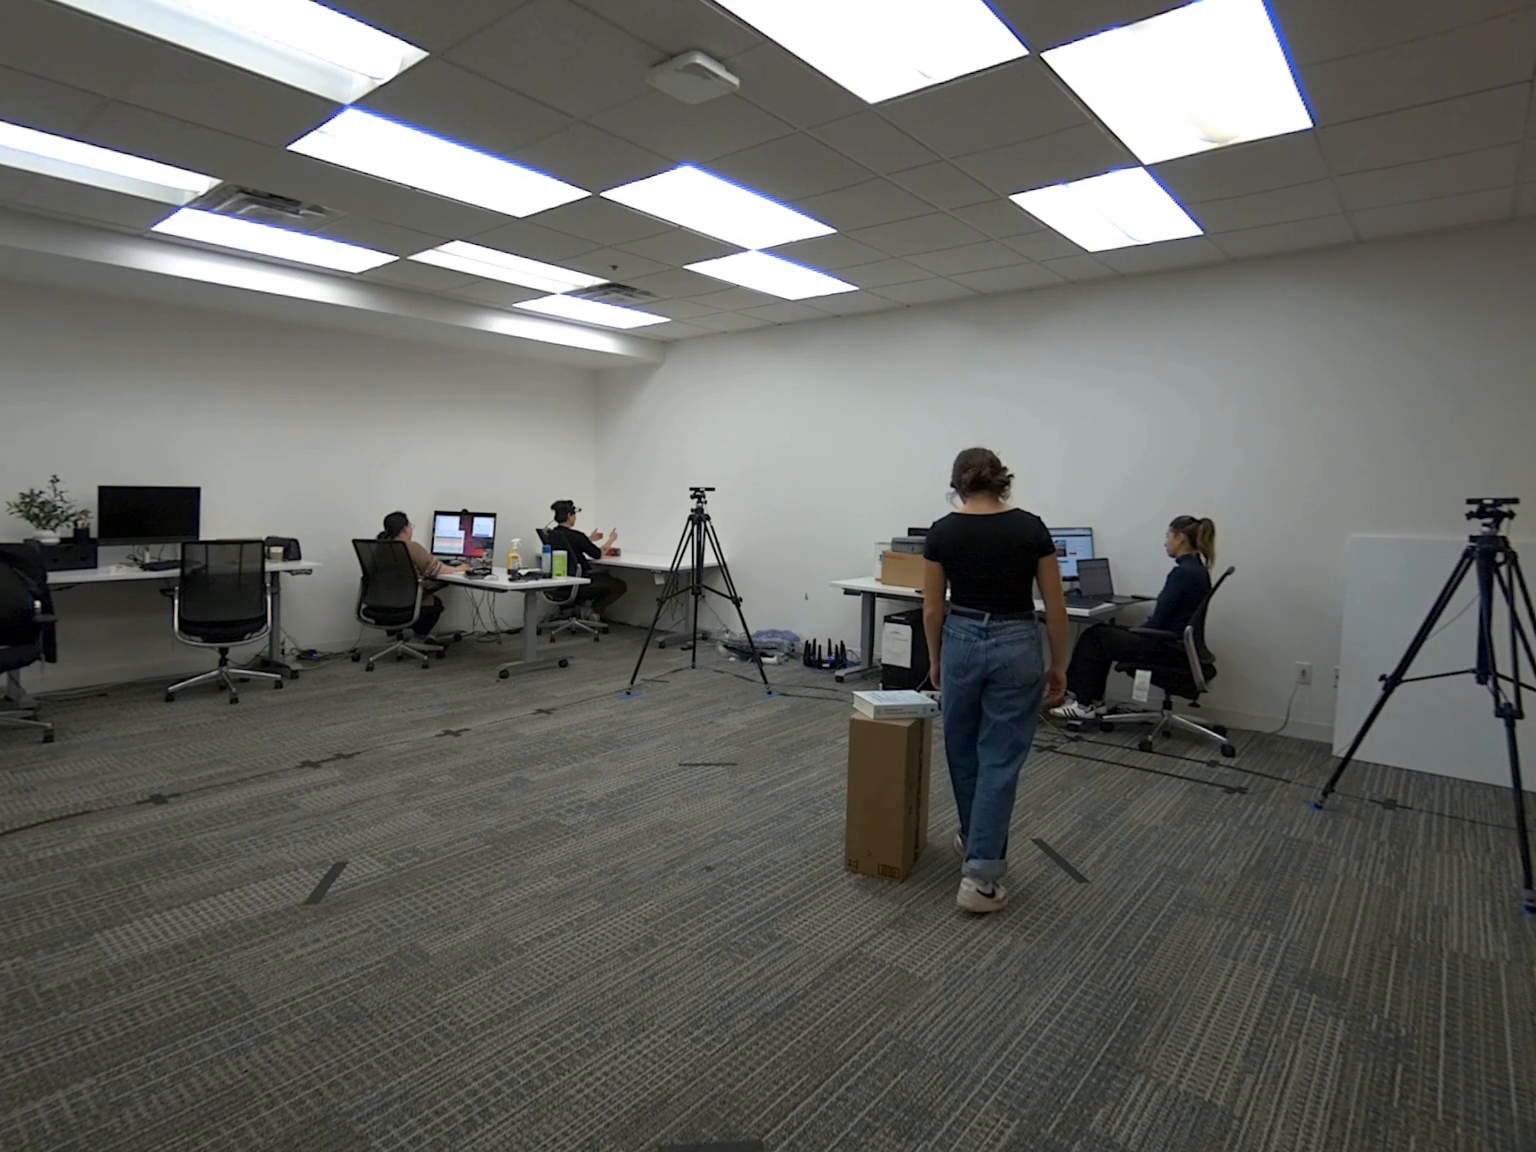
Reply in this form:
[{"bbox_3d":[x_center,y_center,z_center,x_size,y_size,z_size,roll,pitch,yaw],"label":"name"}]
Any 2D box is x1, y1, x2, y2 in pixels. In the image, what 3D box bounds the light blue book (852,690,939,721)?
[{"bbox_3d":[0.475,0.482,3.199,0.256,0.059,0.195,0,6,-17],"label":"light blue book"}]
